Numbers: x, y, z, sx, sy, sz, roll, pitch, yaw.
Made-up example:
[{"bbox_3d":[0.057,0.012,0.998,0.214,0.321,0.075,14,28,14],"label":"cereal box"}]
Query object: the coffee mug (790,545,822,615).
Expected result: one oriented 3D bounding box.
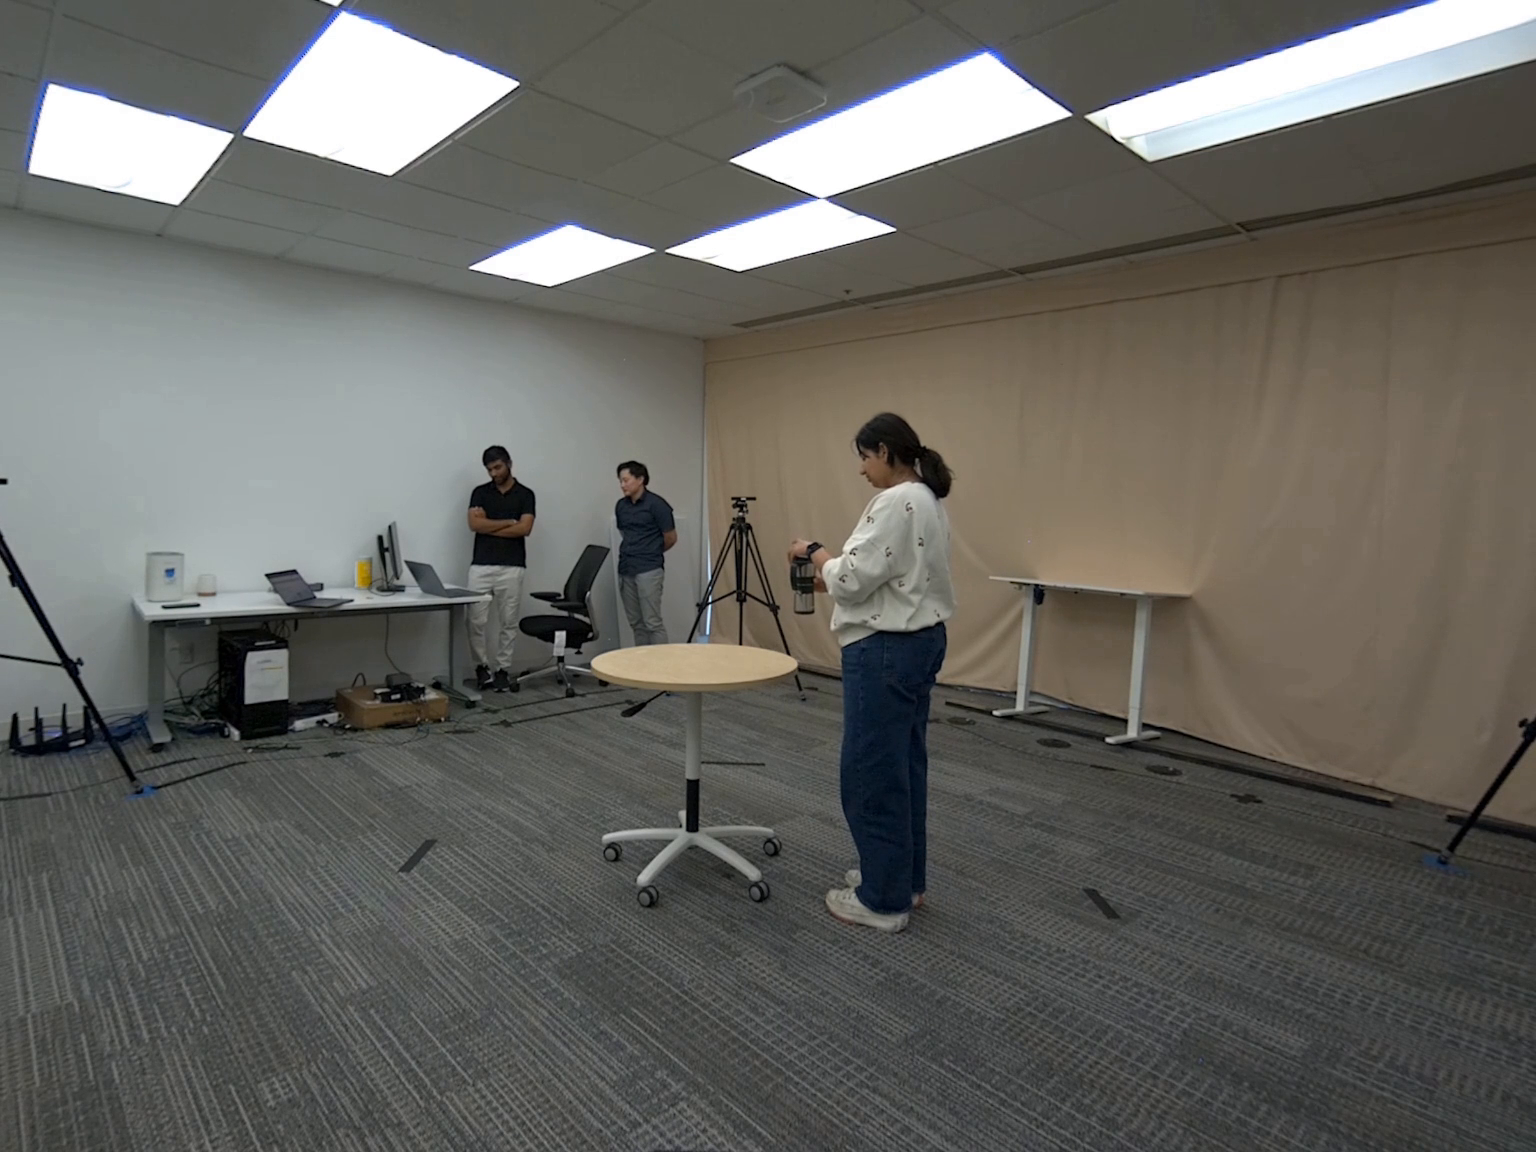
[{"bbox_3d":[0.107,0.033,2.925,0.120,0.201,0.090,1,12,-26],"label":"coffee mug"}]
